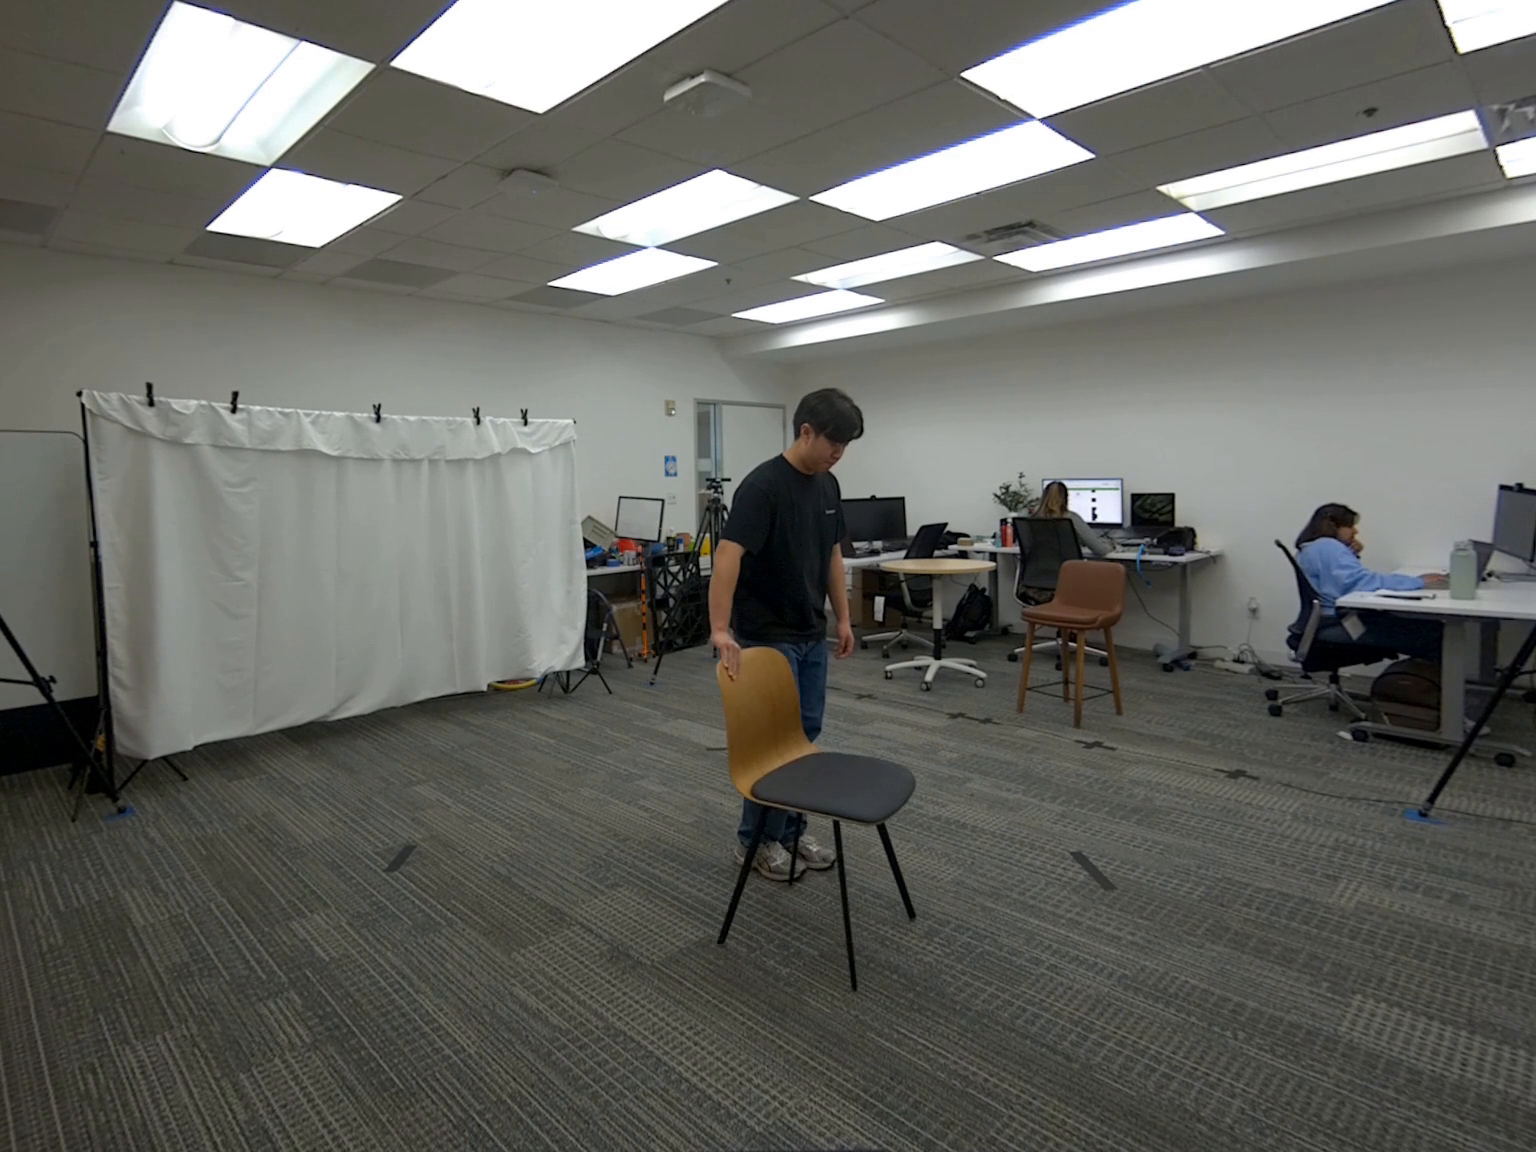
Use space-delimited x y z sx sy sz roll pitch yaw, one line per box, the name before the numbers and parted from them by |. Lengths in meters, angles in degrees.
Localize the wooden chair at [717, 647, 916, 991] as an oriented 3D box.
wooden chair | 0.155 0.672 2.594 0.536 0.876 0.467 -4 2 33
